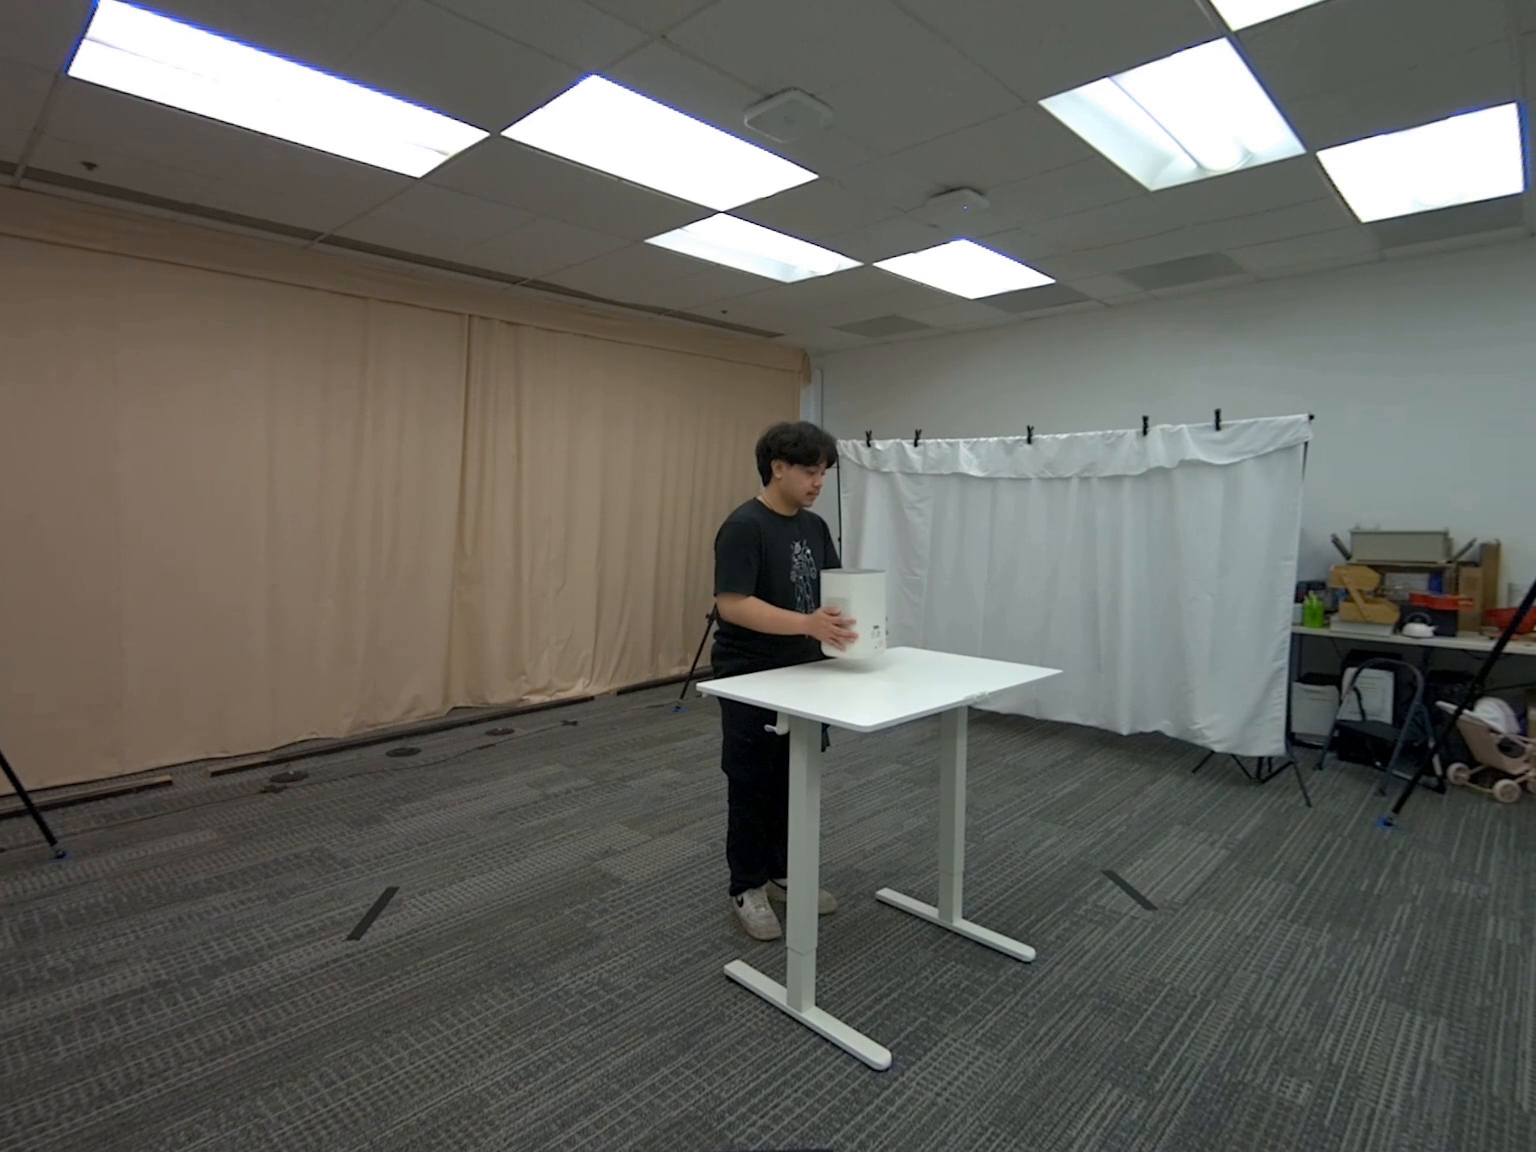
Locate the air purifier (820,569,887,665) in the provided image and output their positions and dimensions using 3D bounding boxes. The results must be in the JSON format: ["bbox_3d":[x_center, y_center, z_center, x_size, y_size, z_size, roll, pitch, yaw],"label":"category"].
[{"bbox_3d":[0.265,0.115,2.596,0.177,0.265,0.166,2,4,45],"label":"air purifier"}]
